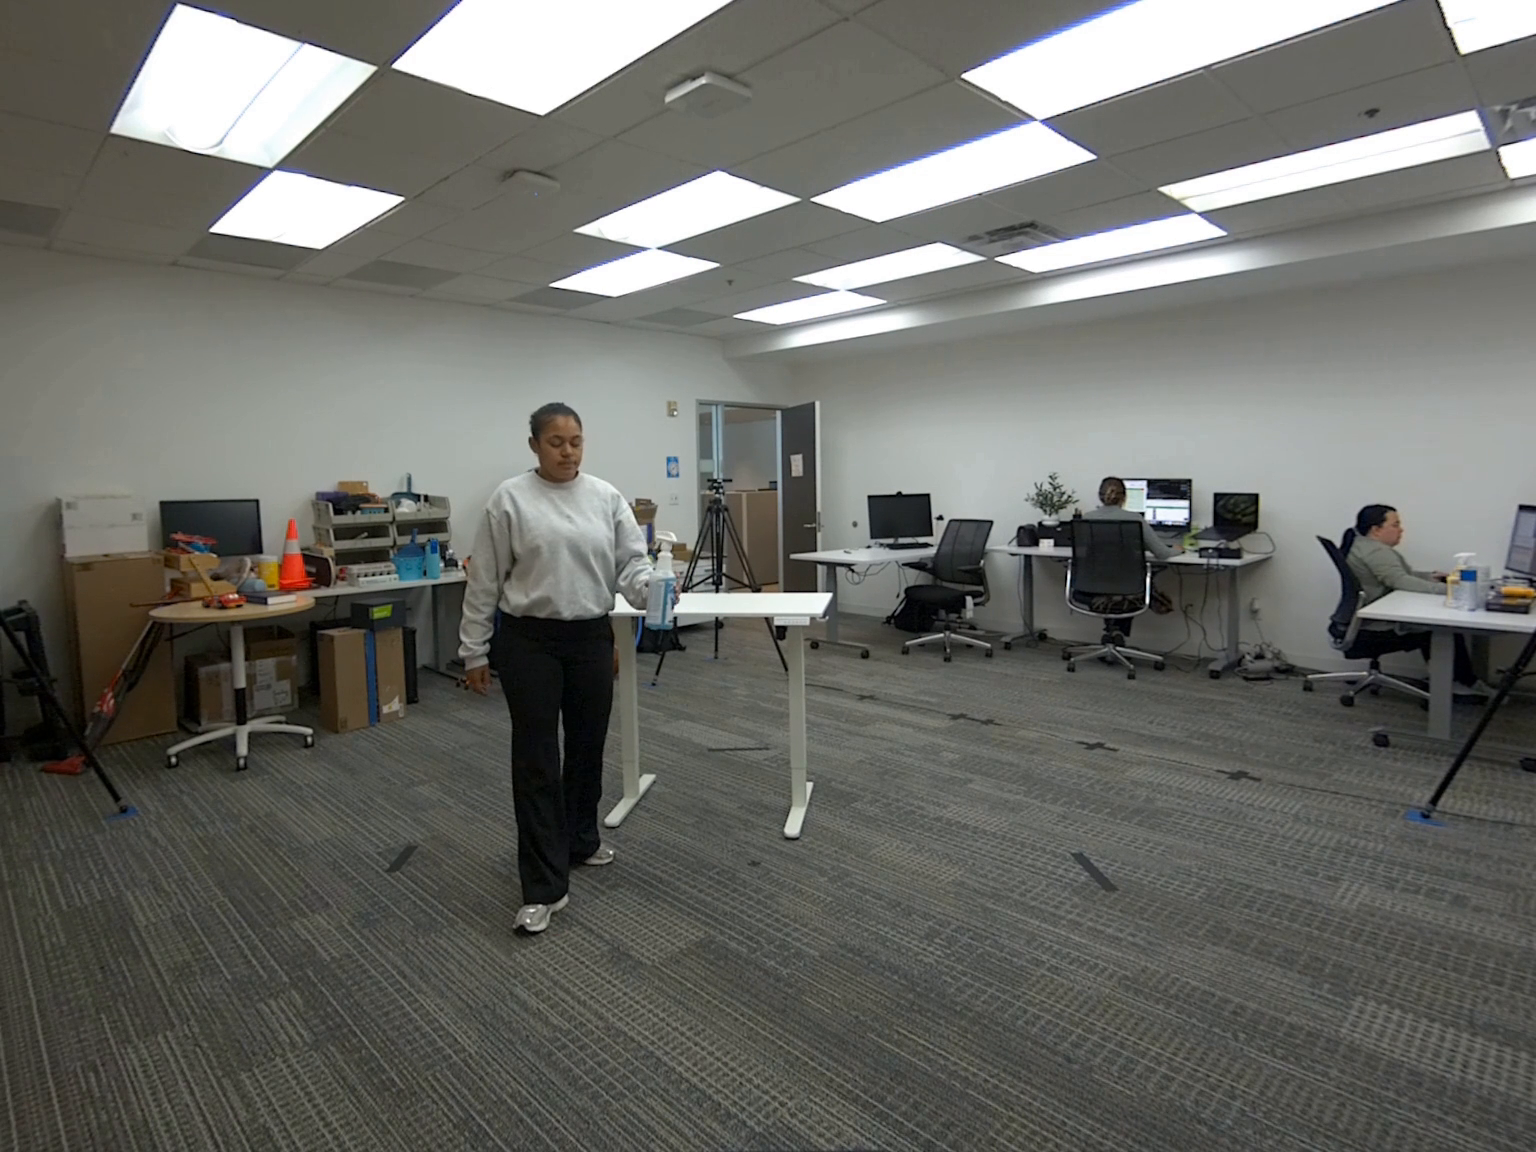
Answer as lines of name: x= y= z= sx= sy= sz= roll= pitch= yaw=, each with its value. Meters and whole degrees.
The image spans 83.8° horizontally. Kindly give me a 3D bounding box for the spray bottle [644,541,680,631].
spray bottle: x=-0.322 y=0.022 z=2.614 sx=0.085 sy=0.298 sz=0.092 roll=7 pitch=-4 yaw=-23
